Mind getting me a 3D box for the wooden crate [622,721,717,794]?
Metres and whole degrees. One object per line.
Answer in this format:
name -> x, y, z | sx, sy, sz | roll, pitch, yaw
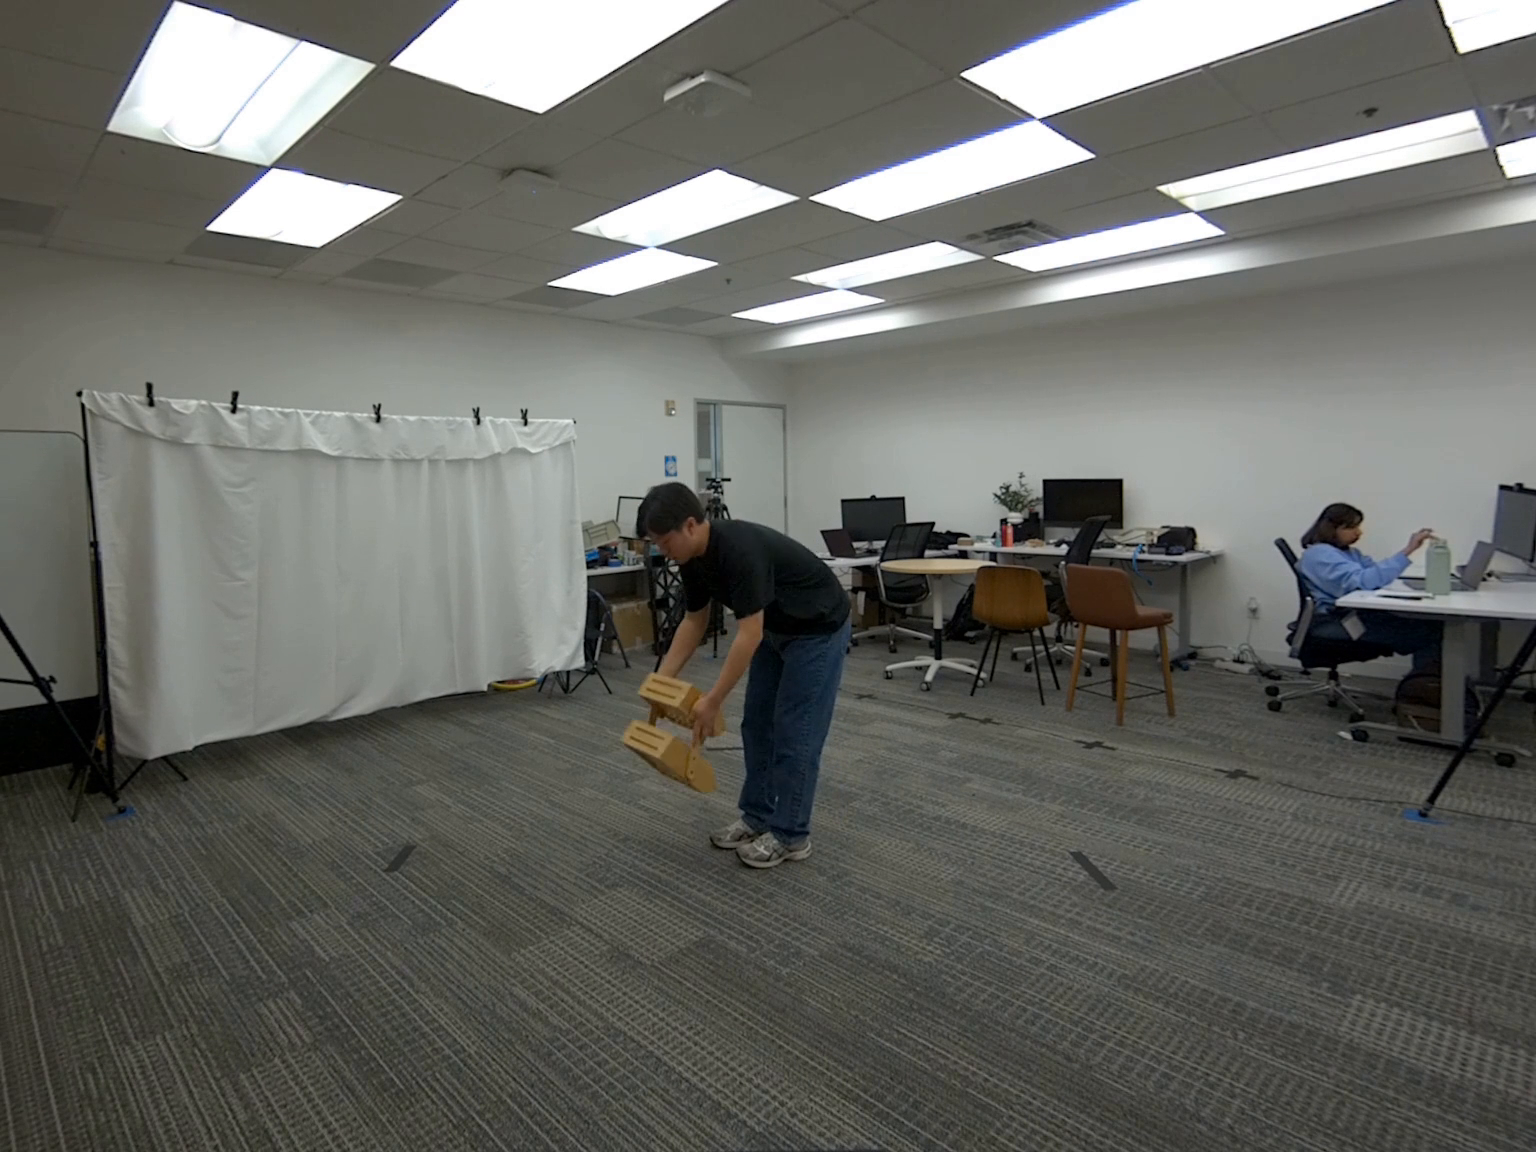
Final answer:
wooden crate -> -0.305, 0.540, 2.997 | 0.293, 0.274, 0.333 | 45, -22, -27
